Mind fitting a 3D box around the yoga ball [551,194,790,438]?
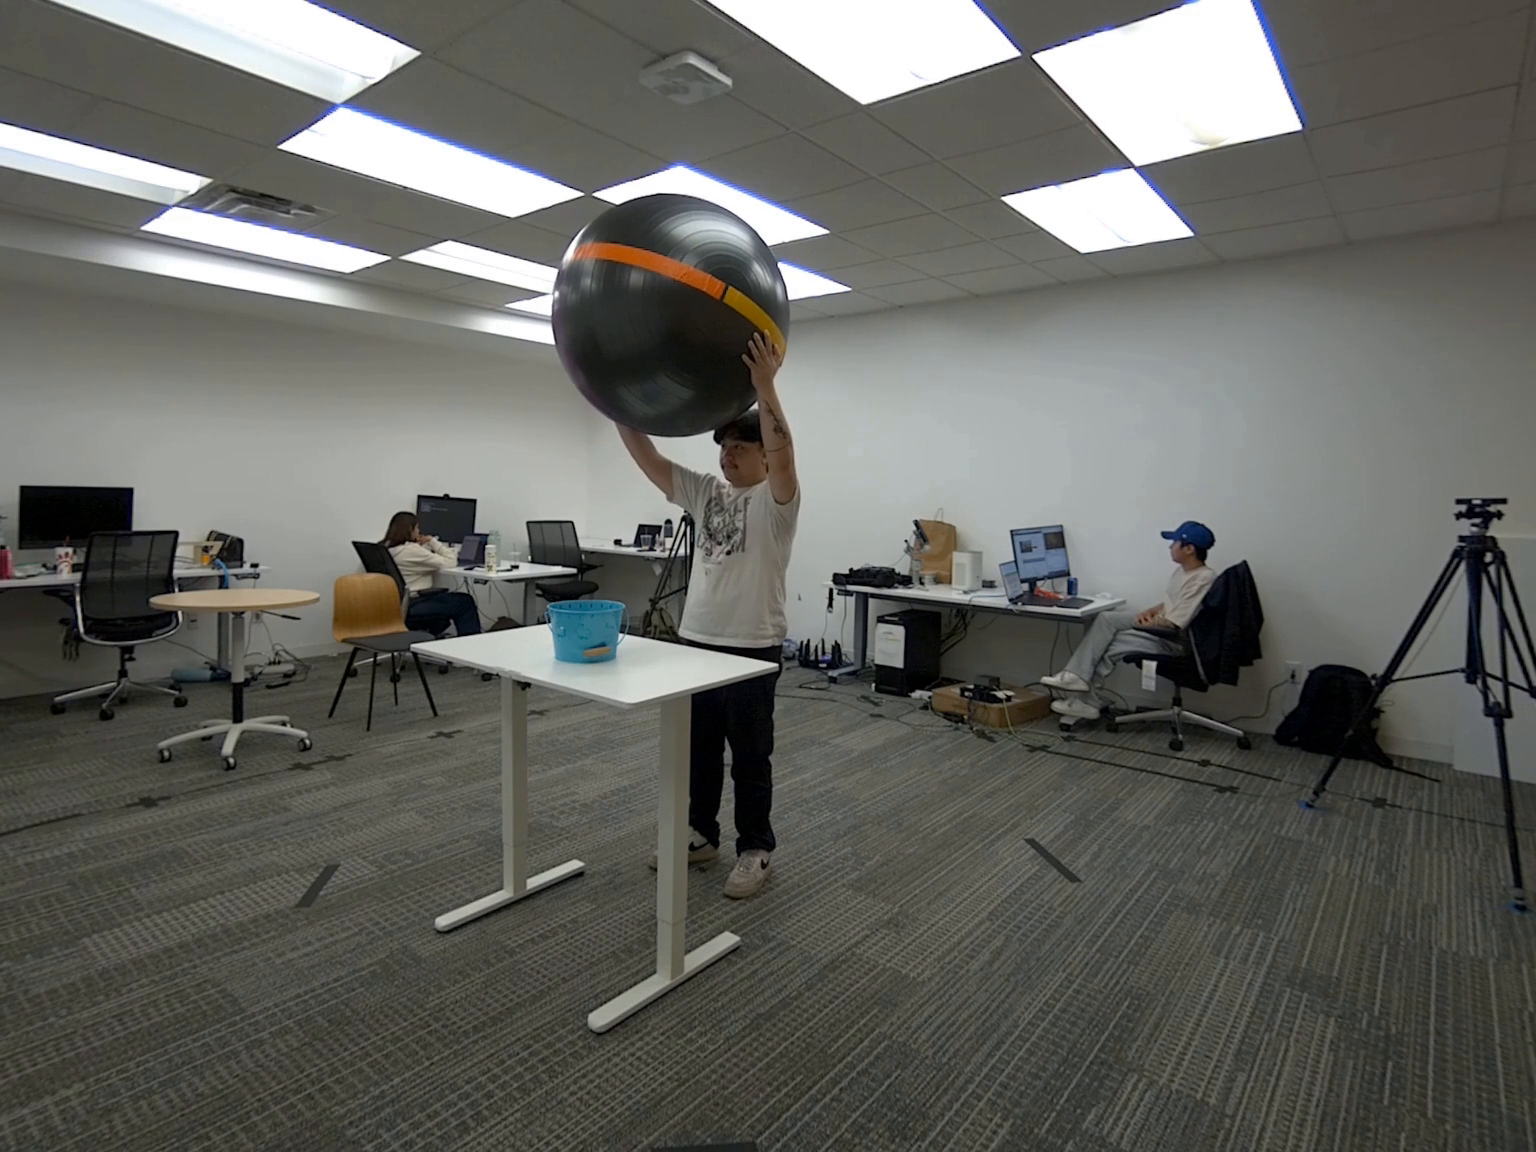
[{"bbox_3d":[-0.323,-0.821,2.722,0.757,0.755,0.762,1,4,-2],"label":"yoga ball"}]
